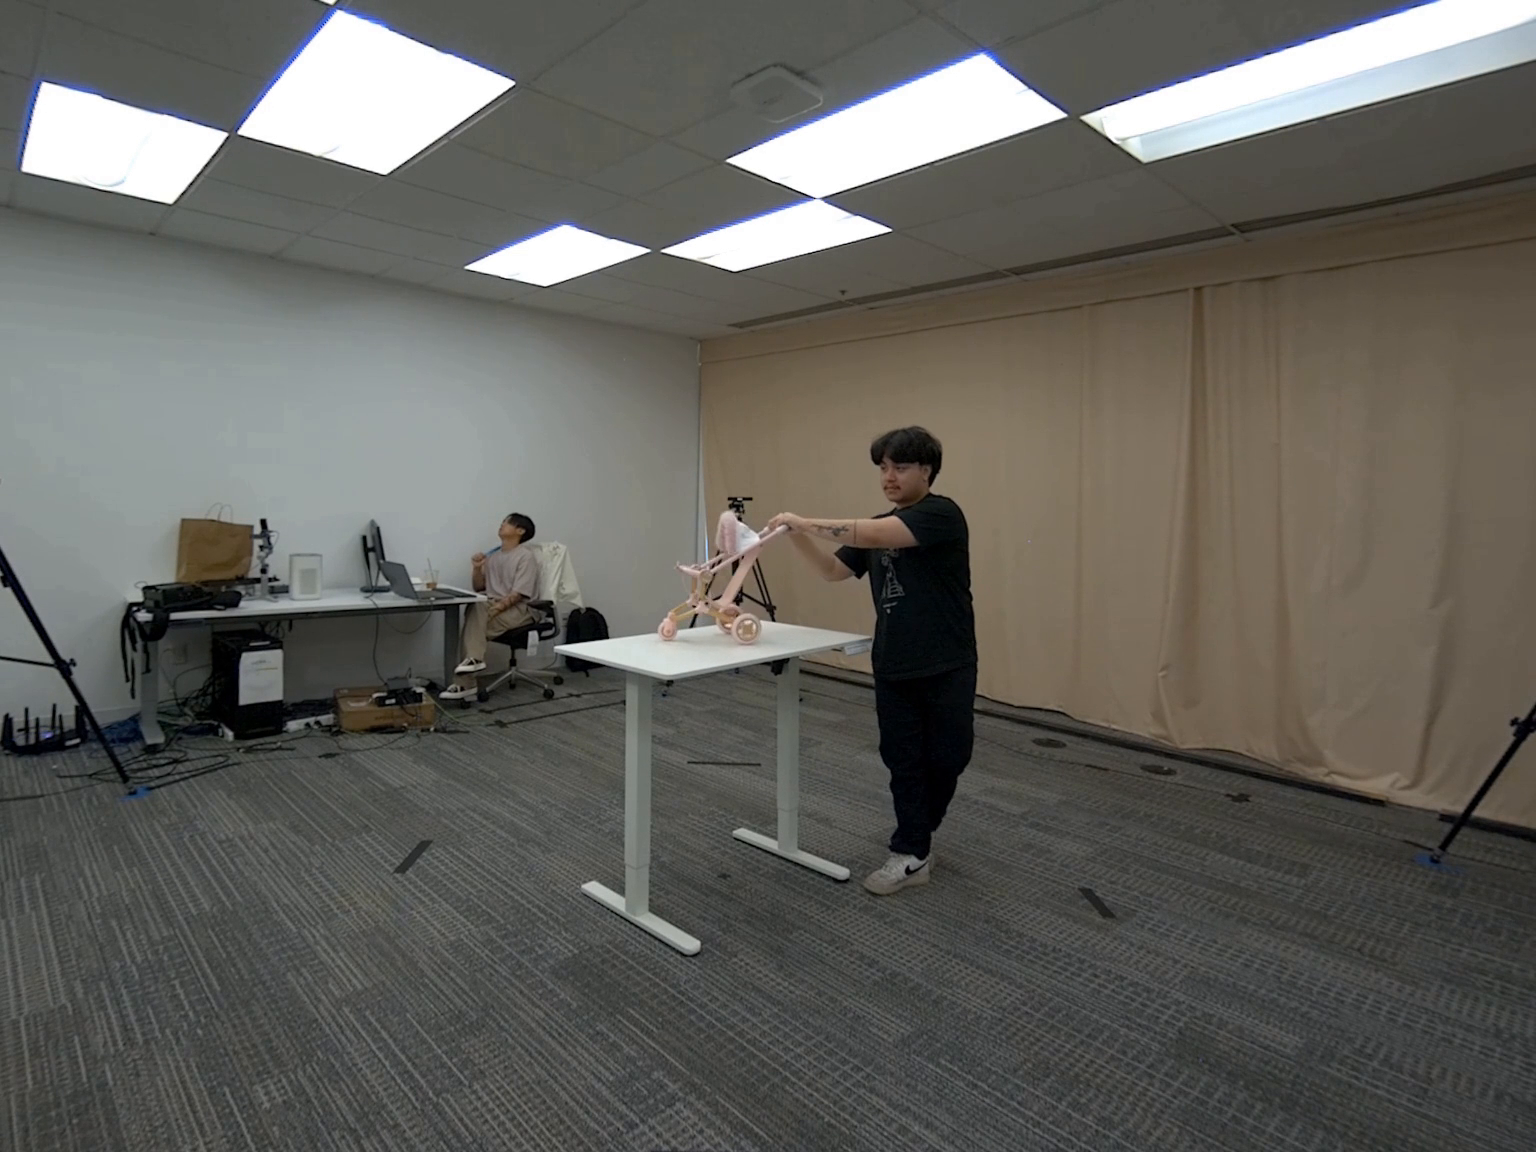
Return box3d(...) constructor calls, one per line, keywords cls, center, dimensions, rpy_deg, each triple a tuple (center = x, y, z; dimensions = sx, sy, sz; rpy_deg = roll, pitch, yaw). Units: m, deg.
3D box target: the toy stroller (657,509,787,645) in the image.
box3d(cls="toy stroller", center=(-0.172, 0.008, 3.027), dimensions=(0.338, 0.535, 0.284), rpy_deg=(16, 0, -10))
